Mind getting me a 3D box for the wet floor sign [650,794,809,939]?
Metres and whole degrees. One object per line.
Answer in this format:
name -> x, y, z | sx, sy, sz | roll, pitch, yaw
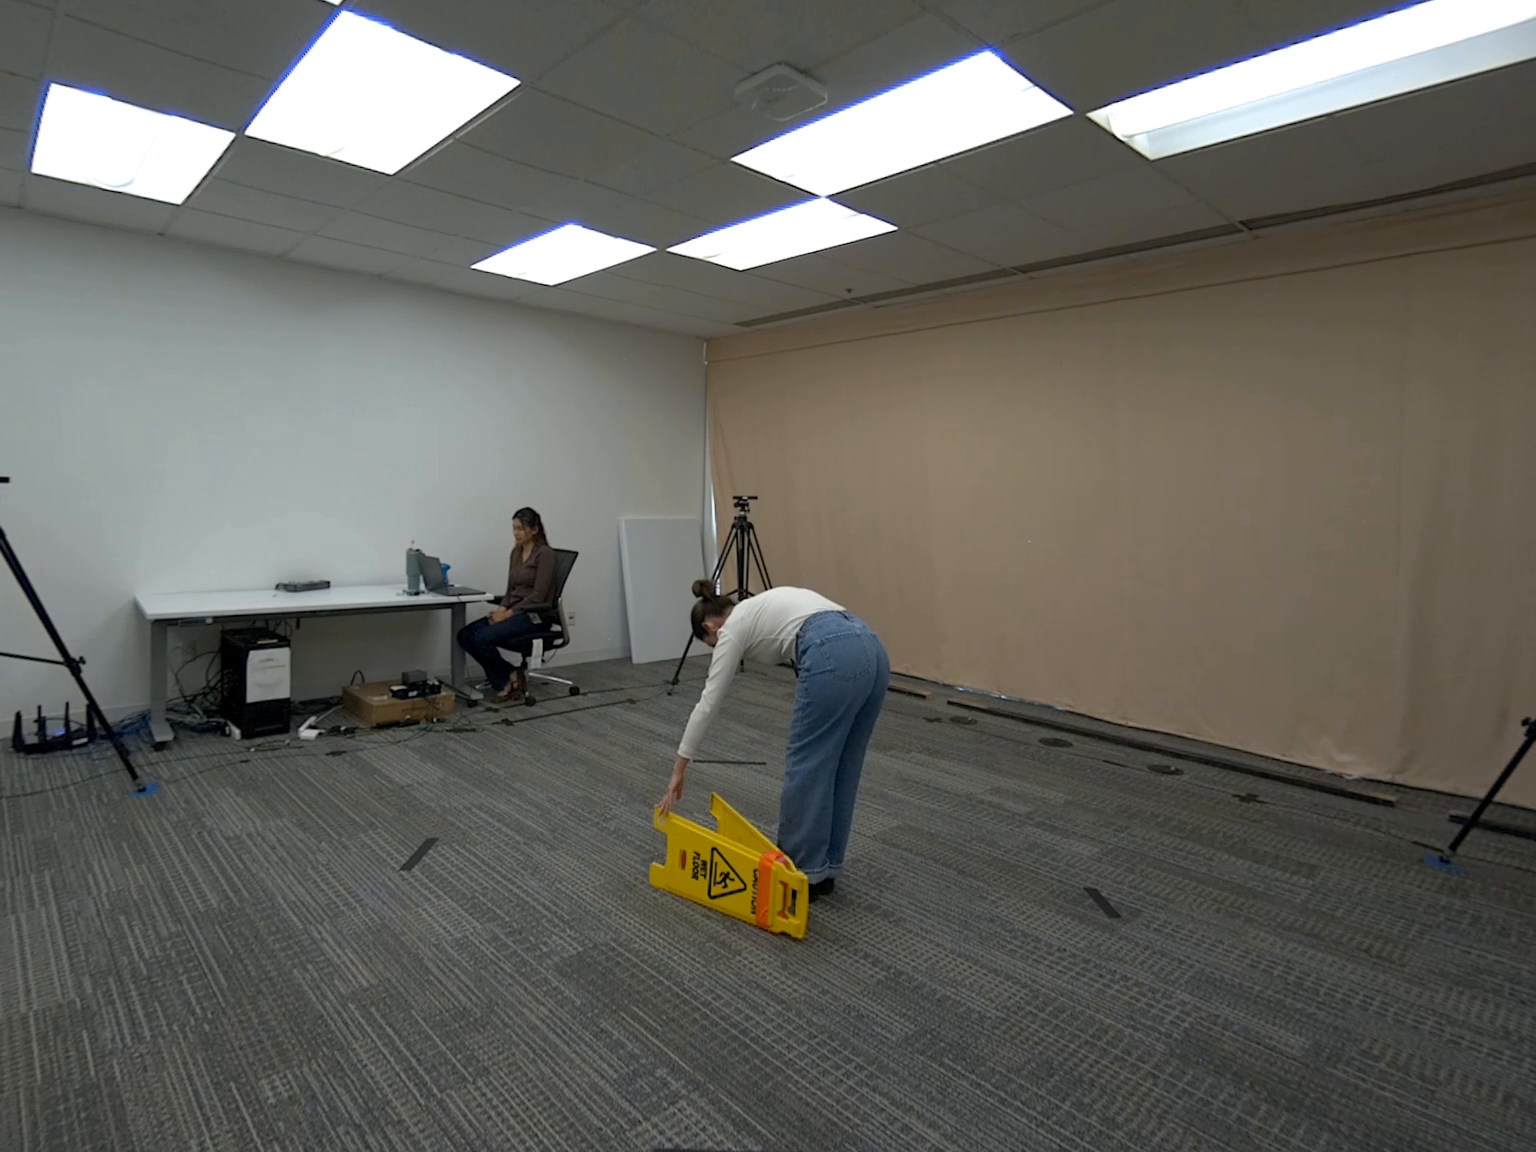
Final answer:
wet floor sign -> -0.103, 0.996, 2.859 | 0.283, 0.281, 0.663 | -2, 7, -40
